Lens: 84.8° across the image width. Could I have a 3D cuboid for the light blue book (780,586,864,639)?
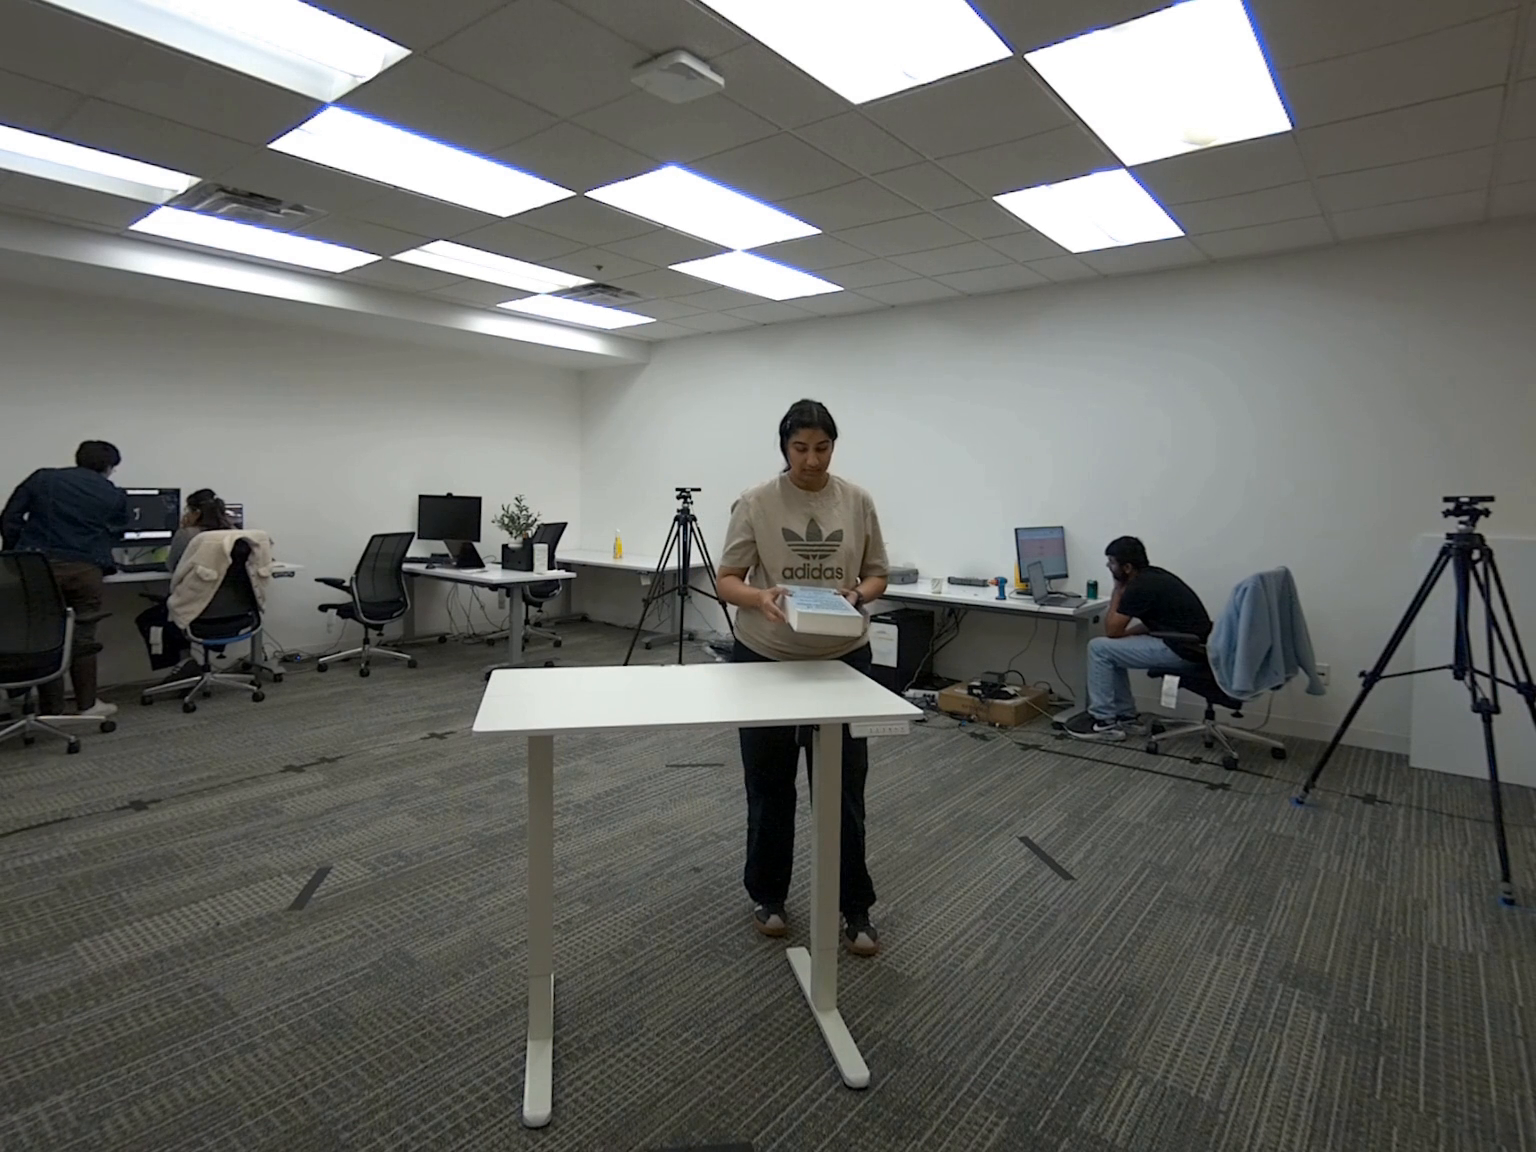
[{"bbox_3d":[0.141,0.106,2.366,0.258,0.058,0.195,7,12,-11],"label":"light blue book"}]
